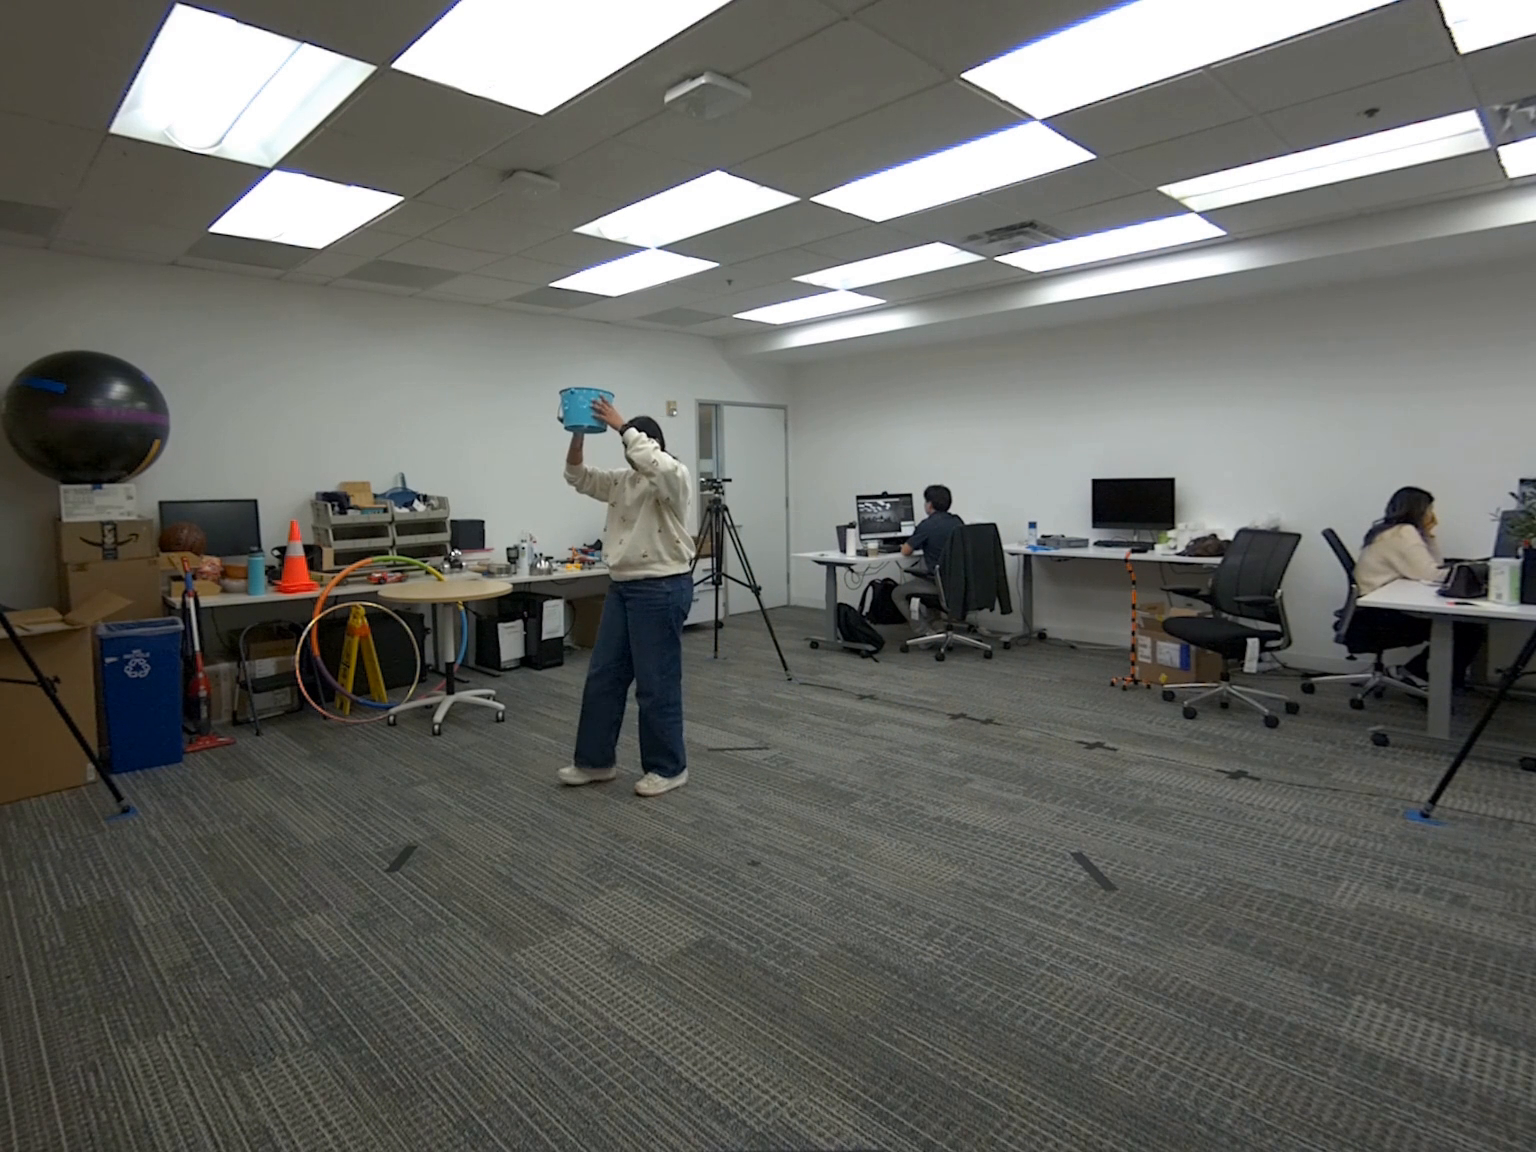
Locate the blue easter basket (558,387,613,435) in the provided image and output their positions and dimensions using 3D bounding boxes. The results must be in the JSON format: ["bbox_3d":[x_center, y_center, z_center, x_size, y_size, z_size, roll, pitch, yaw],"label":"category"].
[{"bbox_3d":[-0.779,-0.698,3.624,0.243,0.156,0.243,1,-3,-2],"label":"blue easter basket"}]
